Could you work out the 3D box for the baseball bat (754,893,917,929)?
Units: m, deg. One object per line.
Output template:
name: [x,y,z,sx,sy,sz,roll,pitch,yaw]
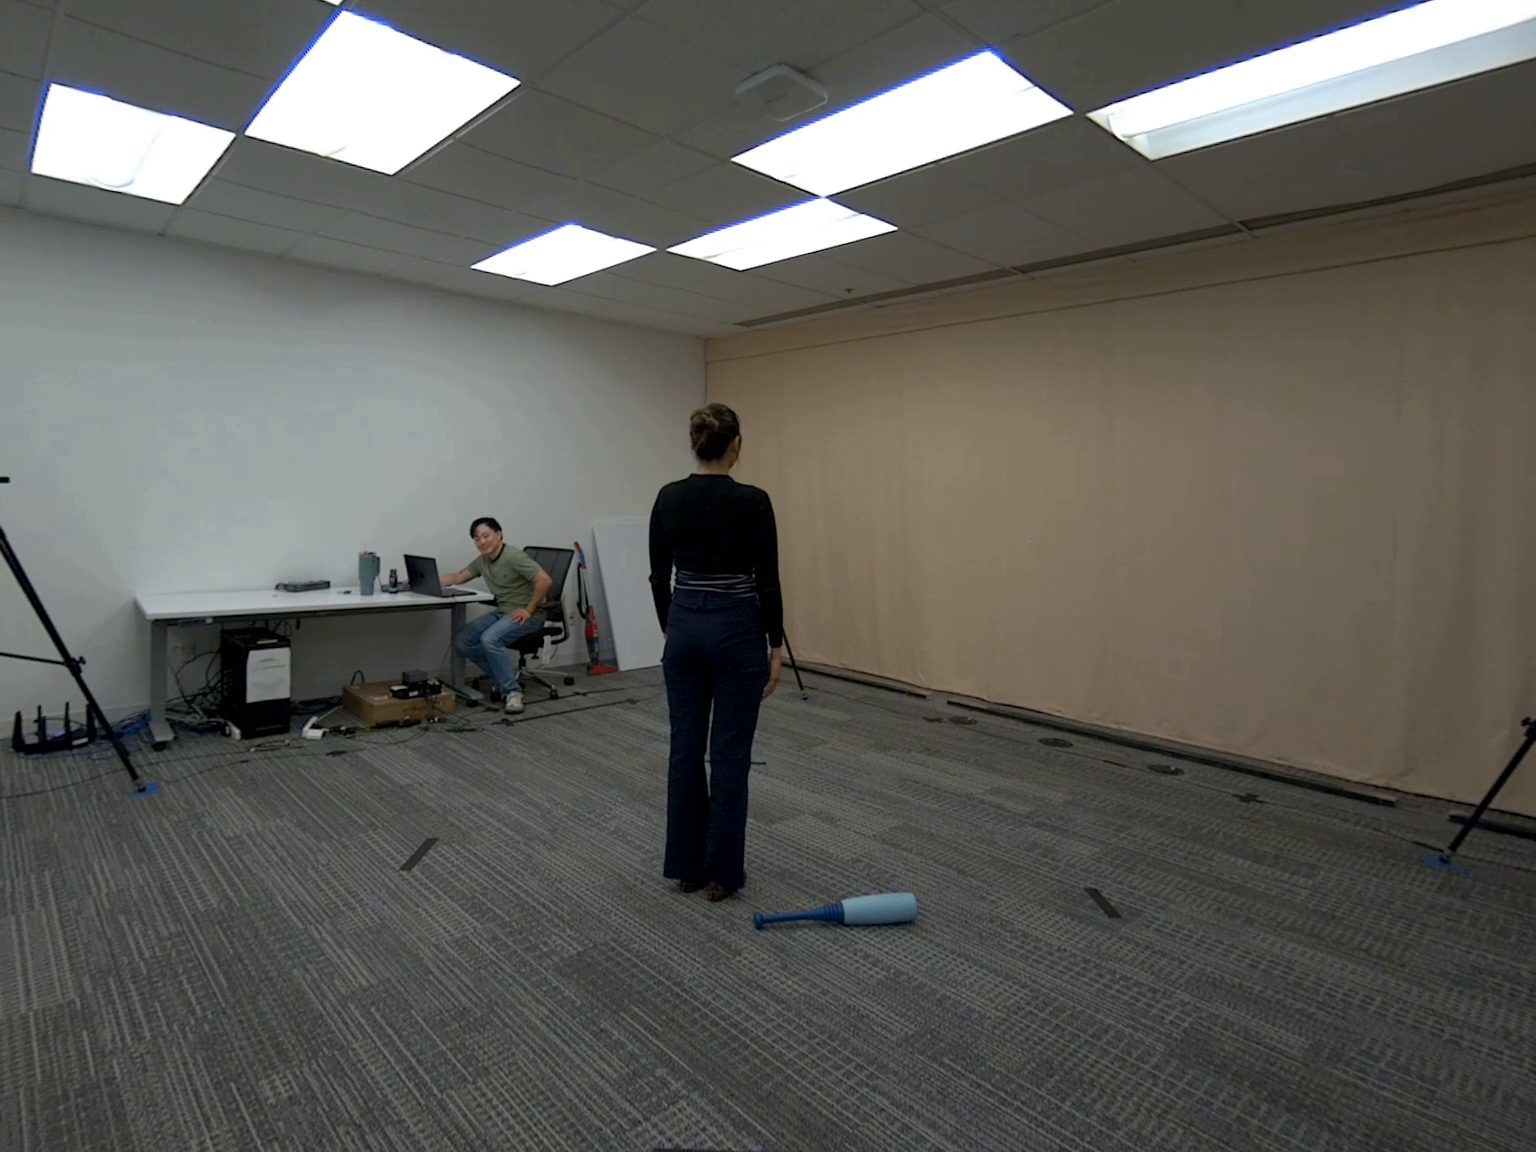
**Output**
baseball bat: [0.220,1.110,2.753,0.540,0.089,0.090,-2,5,-7]
